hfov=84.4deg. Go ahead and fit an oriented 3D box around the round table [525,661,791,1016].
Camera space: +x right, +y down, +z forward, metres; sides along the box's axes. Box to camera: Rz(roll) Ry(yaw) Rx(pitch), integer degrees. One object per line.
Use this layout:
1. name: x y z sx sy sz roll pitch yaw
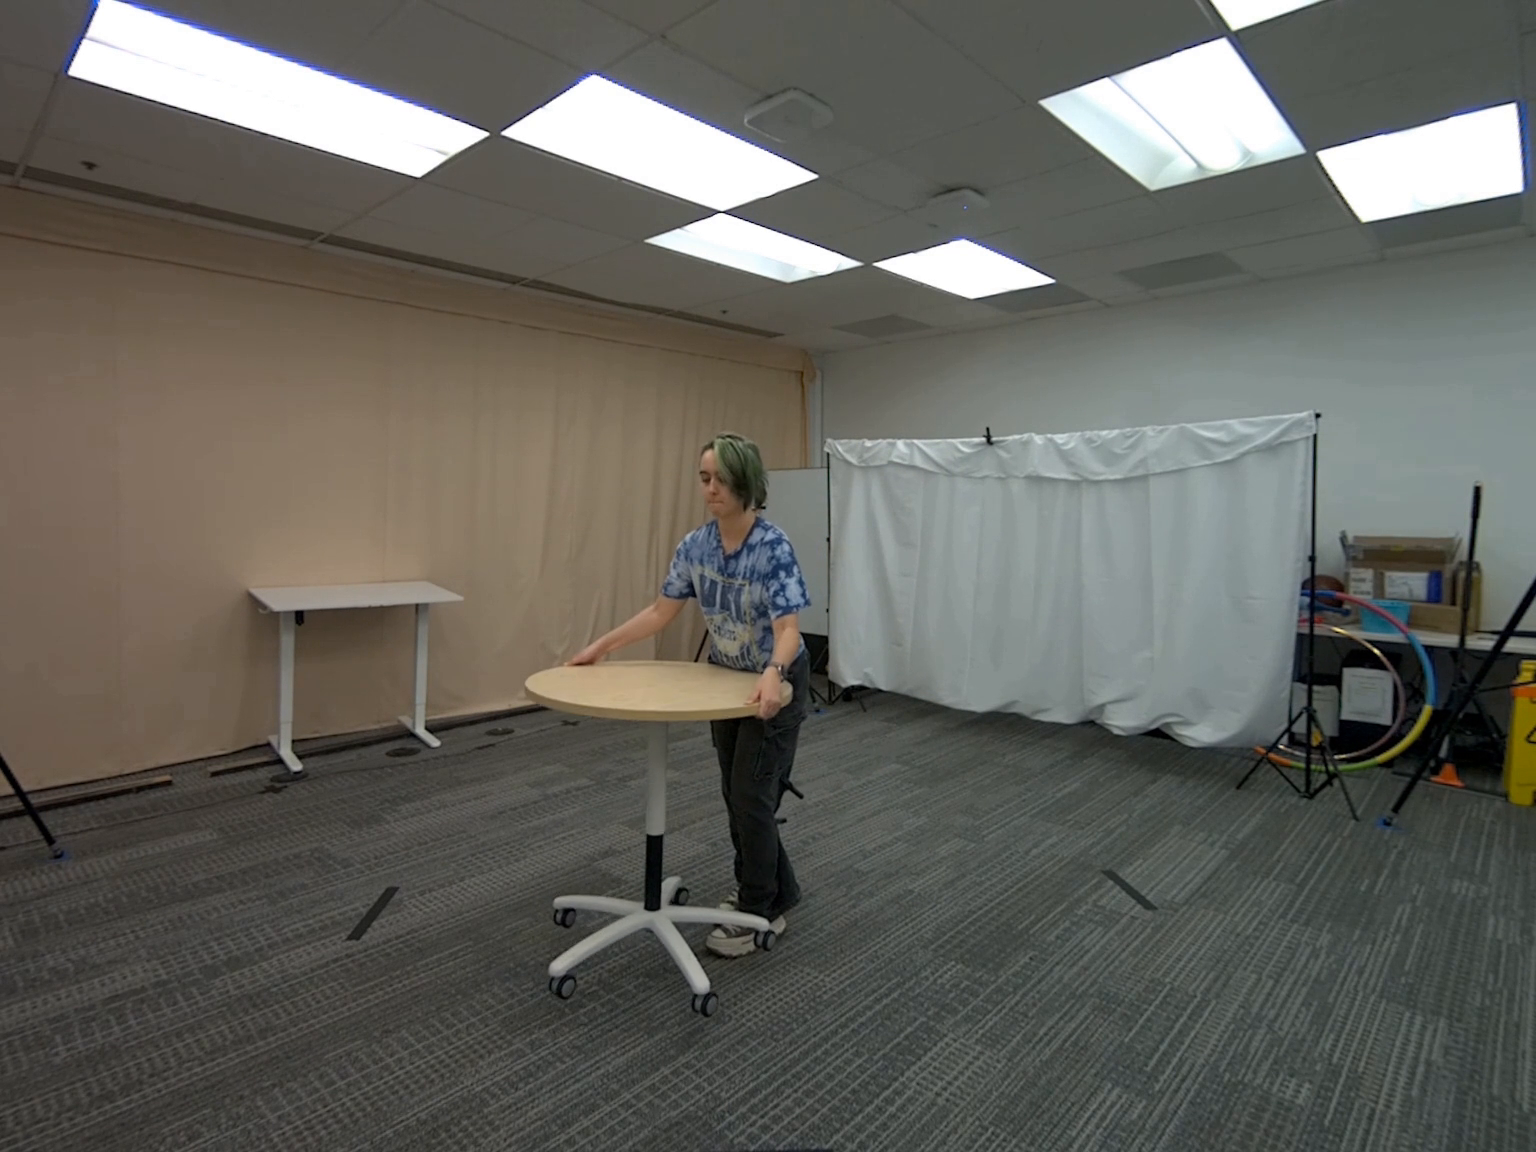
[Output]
1. round table: -0.331 0.718 2.440 0.763 0.793 0.766 1 3 -2
